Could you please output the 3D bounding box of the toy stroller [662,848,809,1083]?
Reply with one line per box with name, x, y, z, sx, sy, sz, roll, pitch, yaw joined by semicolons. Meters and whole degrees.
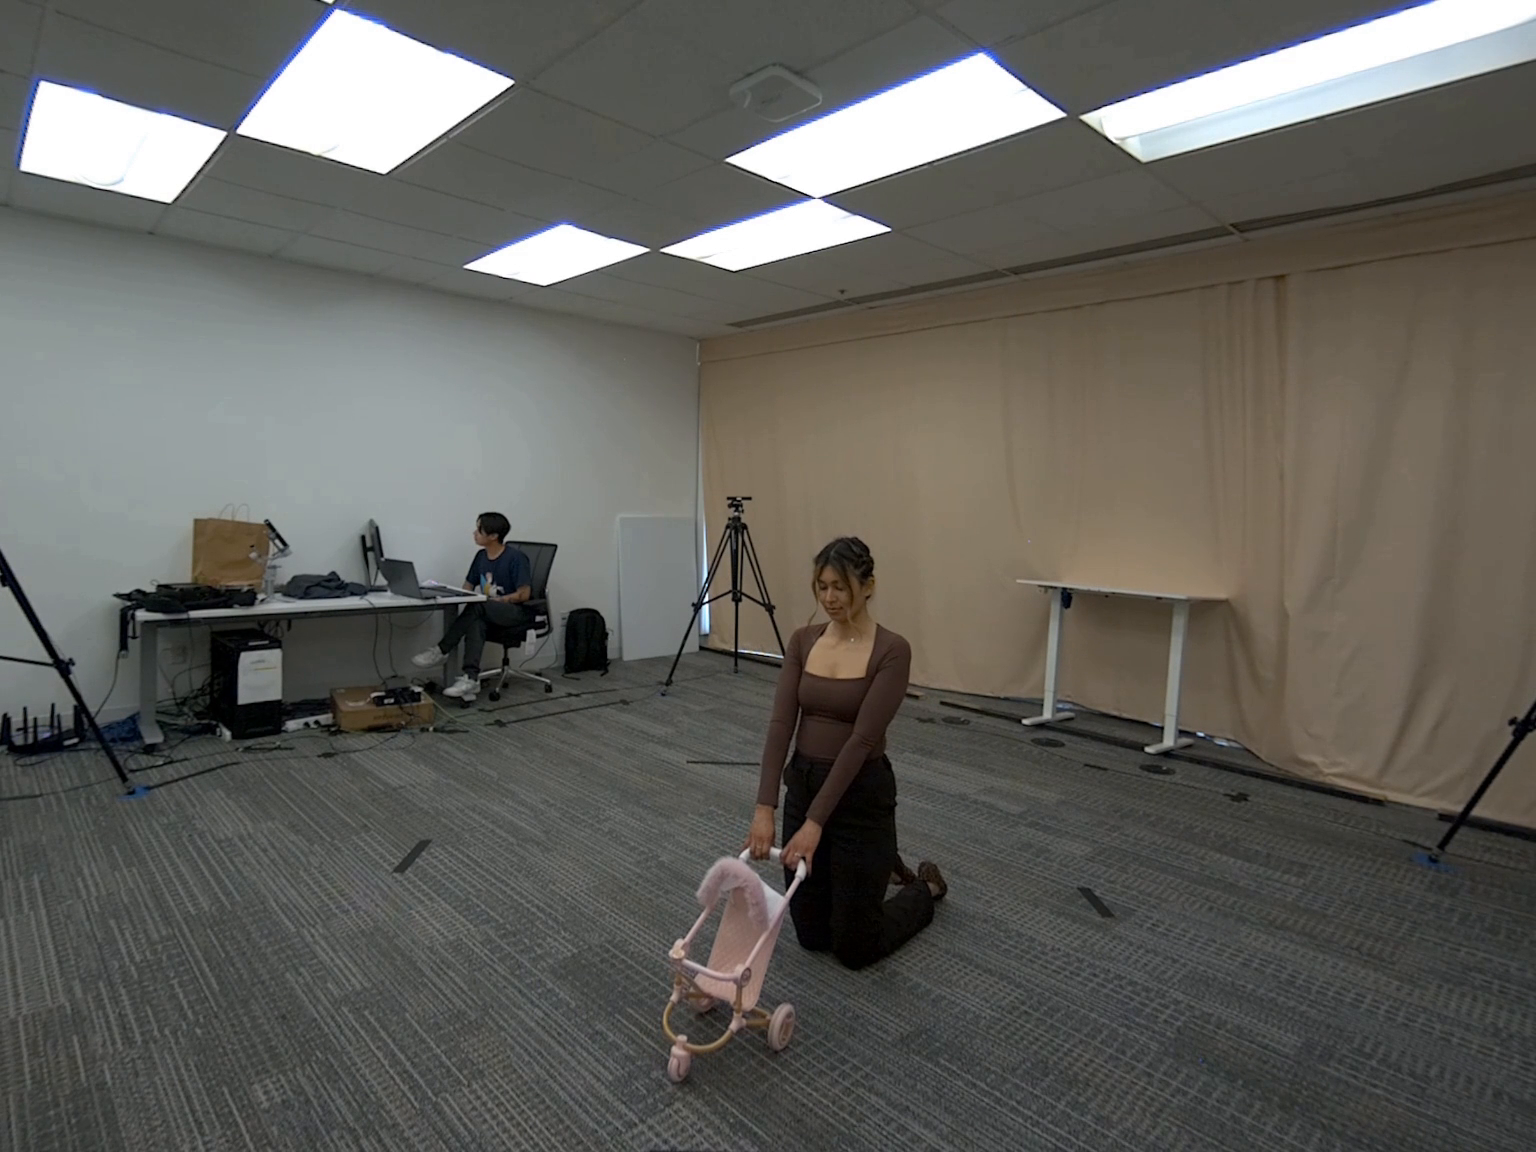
toy stroller;-0.105;0.972;2.150;0.288;0.538;0.331;3;-13;40
